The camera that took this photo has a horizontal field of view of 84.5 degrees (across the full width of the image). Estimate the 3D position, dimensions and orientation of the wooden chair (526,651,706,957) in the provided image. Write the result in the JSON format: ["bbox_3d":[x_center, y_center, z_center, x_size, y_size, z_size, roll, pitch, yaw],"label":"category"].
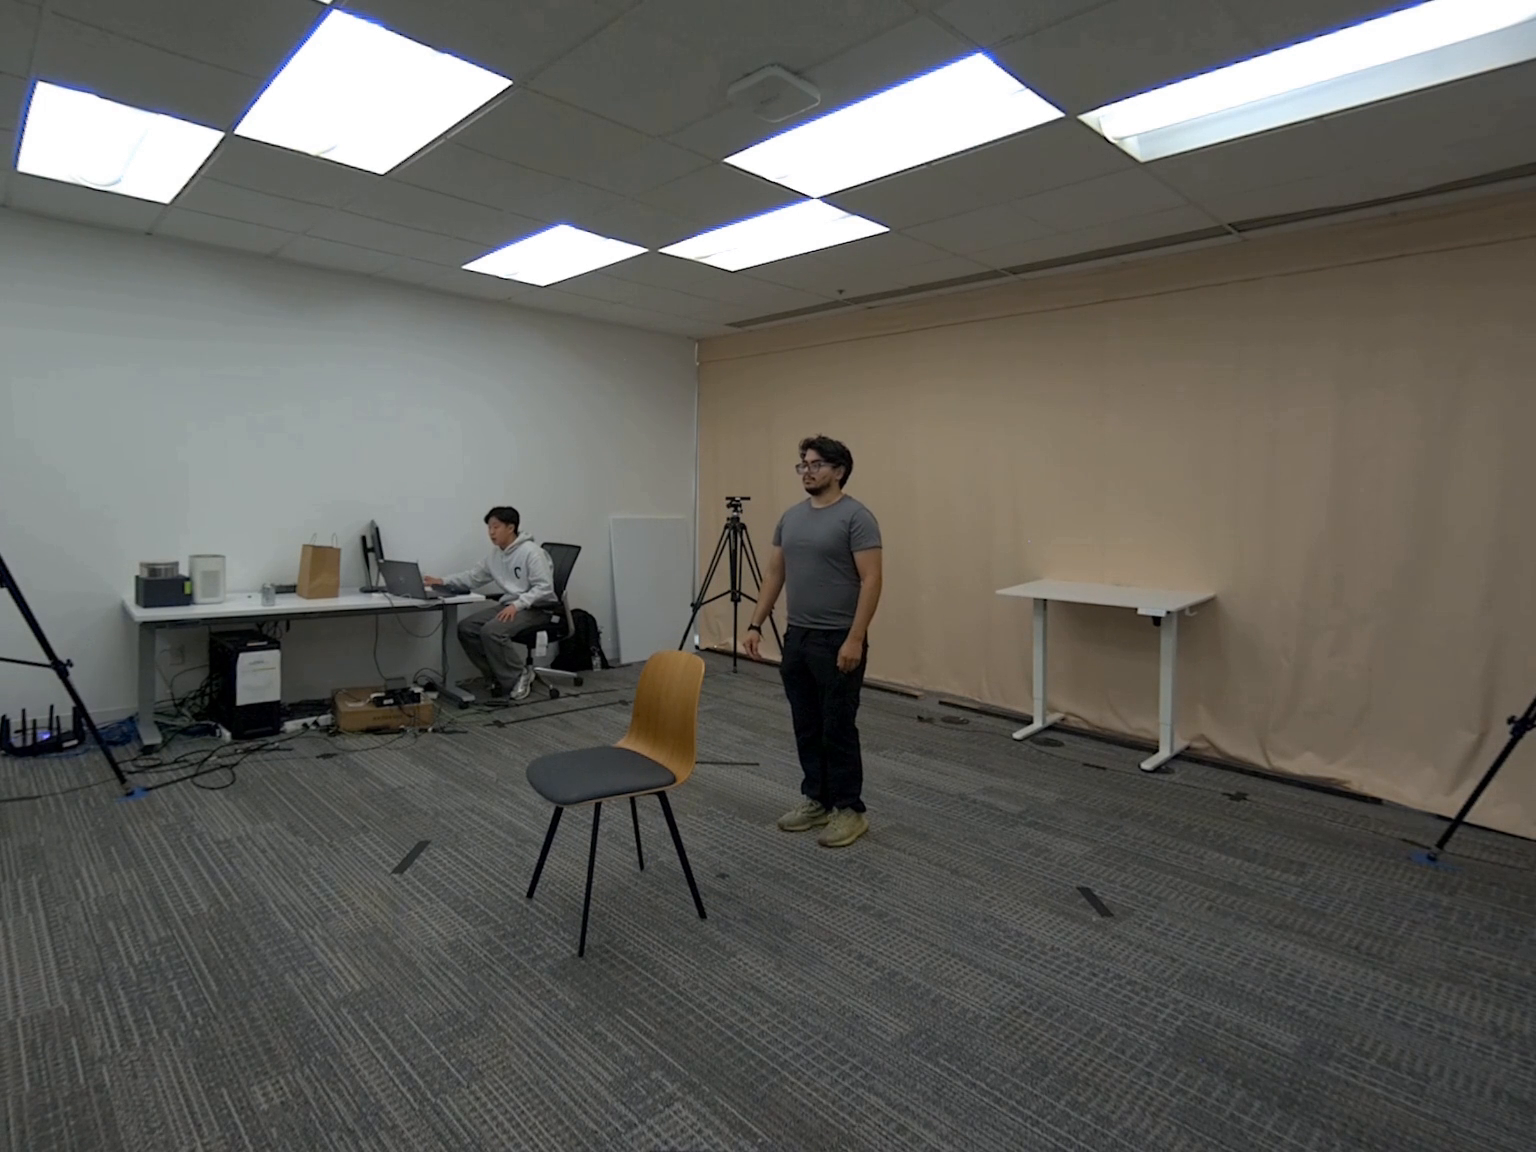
[{"bbox_3d":[-0.519,0.699,2.809,0.511,0.877,0.490,4,1,-36],"label":"wooden chair"}]
